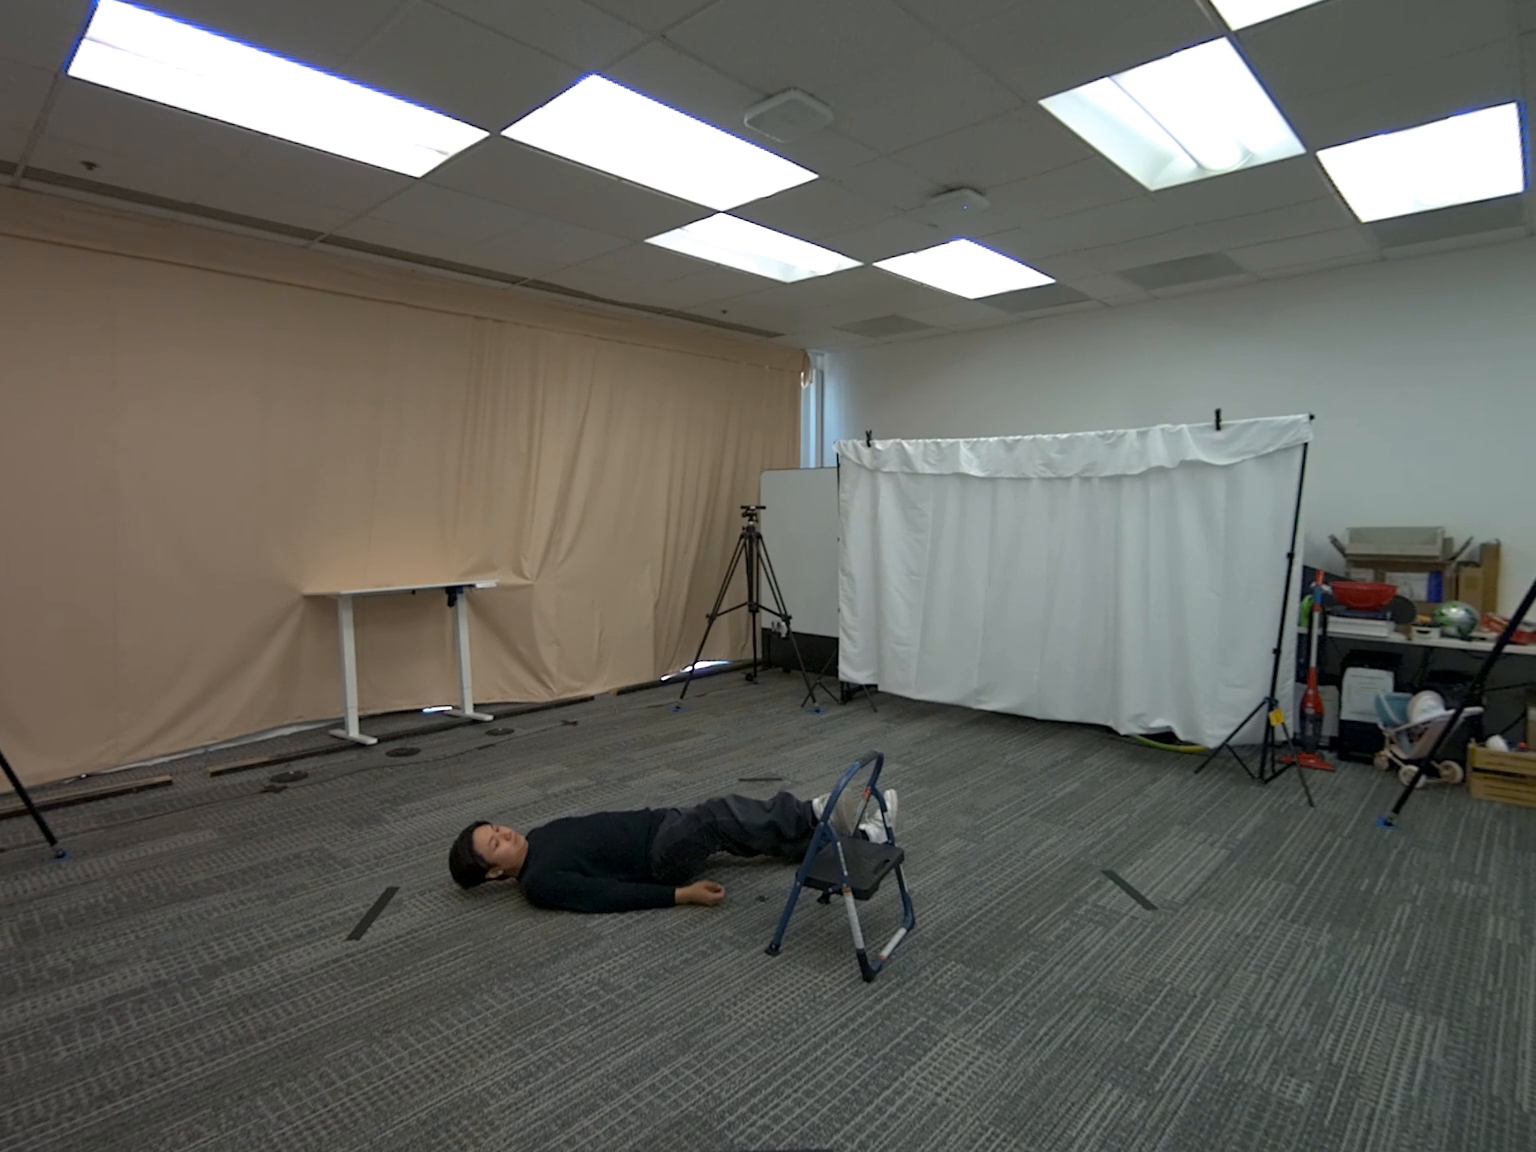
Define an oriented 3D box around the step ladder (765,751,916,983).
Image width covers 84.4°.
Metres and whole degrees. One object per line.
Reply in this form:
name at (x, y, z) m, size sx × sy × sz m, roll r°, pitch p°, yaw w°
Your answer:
step ladder at (0.246, 0.863, 2.694) m, size 0.359 × 0.604 × 0.419 m, roll 2°, pitch 4°, yaw 29°
